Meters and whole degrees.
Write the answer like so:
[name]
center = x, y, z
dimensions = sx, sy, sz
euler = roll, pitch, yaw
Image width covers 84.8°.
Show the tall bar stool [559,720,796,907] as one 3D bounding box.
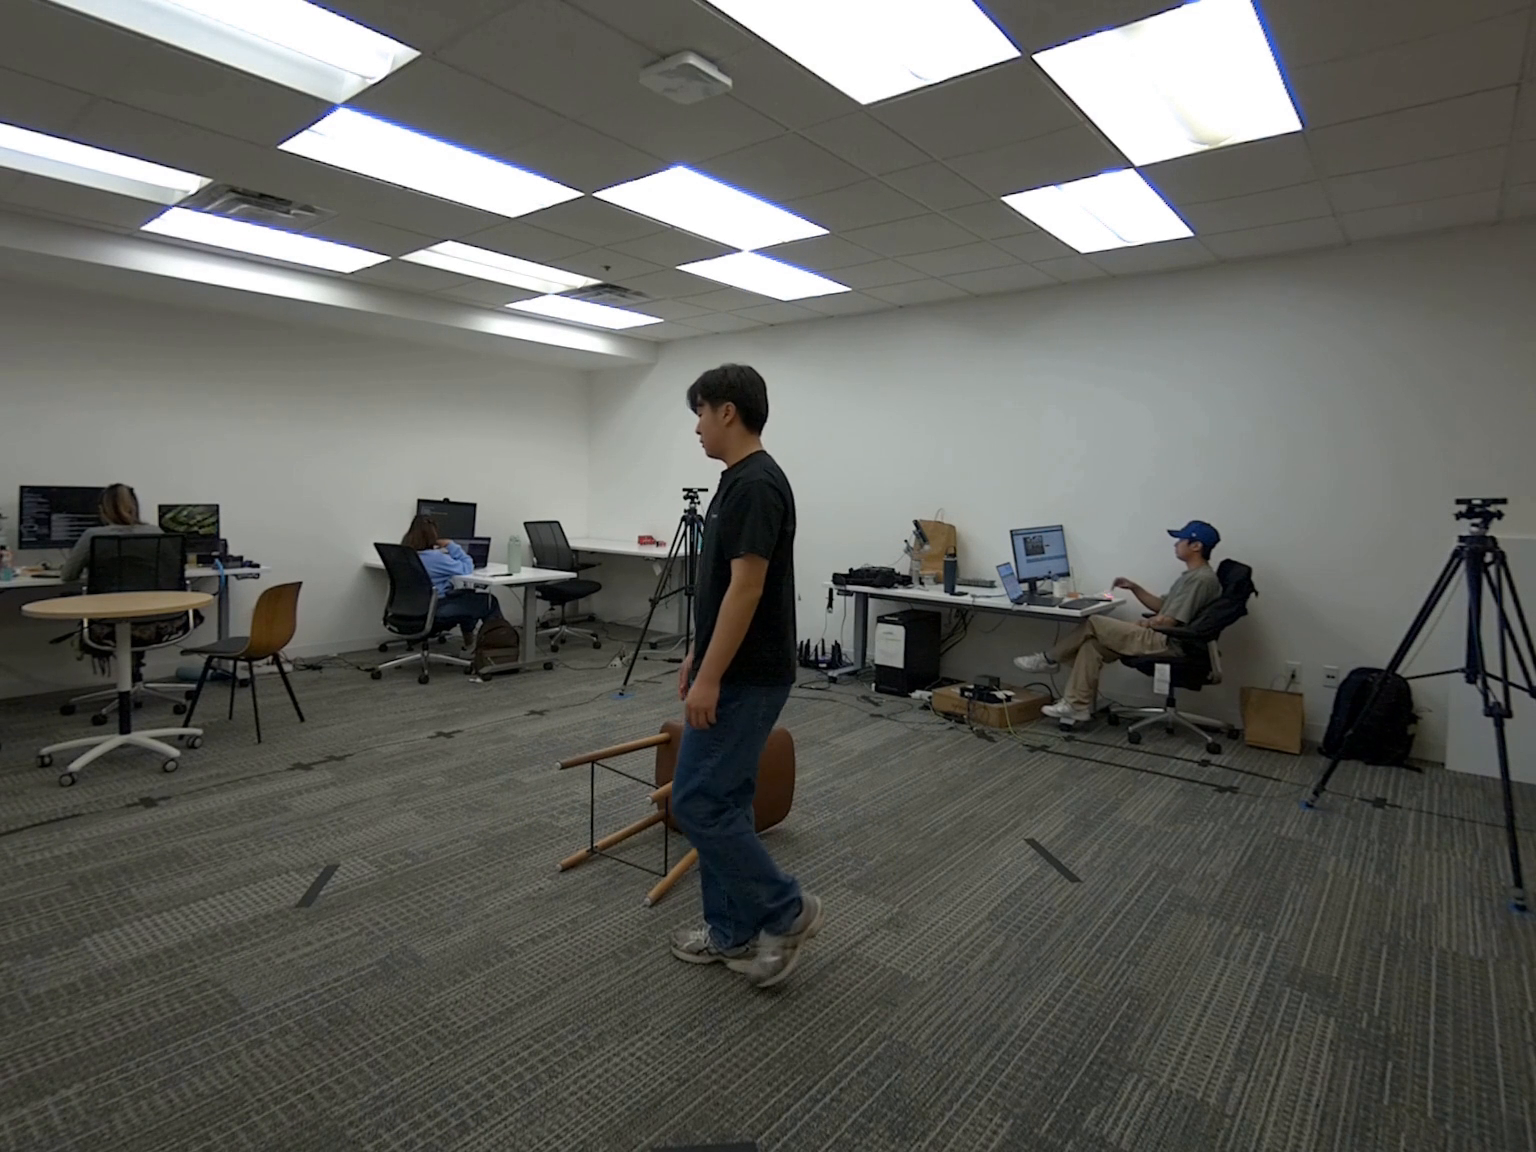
[tall bar stool]
center = -0.342, 0.835, 3.271
dimensions = 0.483, 0.454, 0.866
euler = 6, 9, 35
